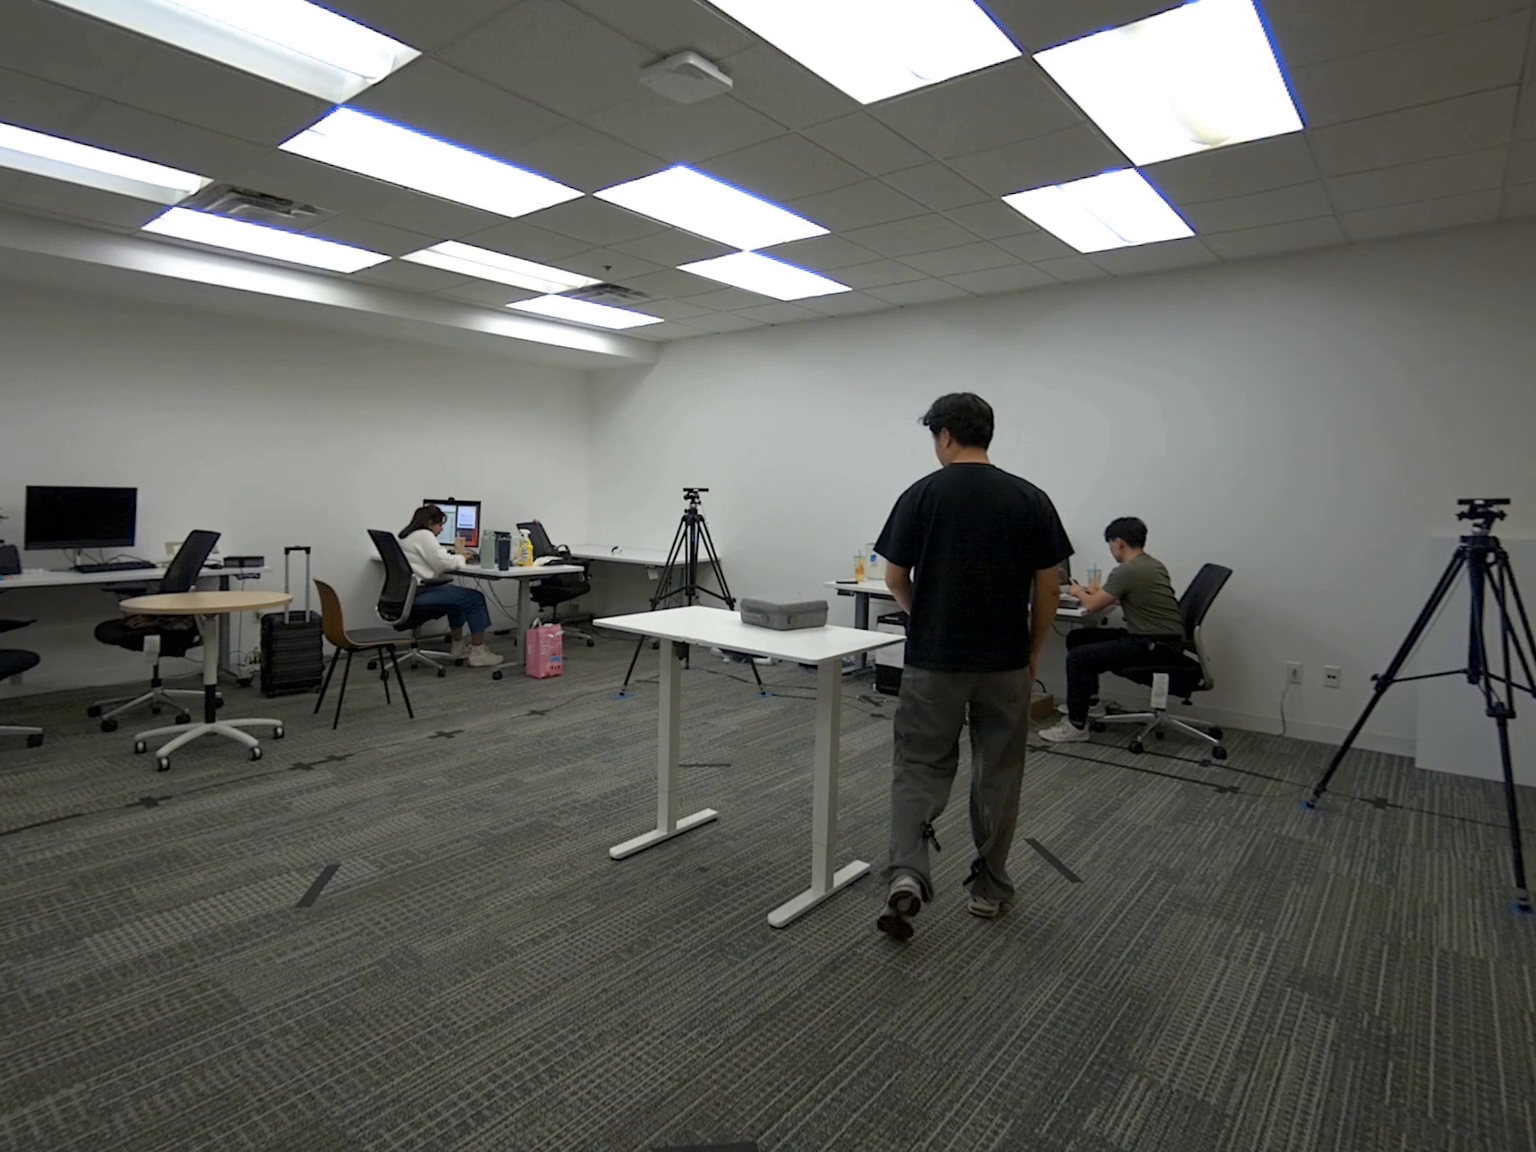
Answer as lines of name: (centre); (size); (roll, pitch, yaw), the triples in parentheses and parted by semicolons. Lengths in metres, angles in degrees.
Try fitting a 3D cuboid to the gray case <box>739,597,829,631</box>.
gray case: (0.049, 0.128, 3.224); (0.253, 0.104, 0.266); (-4, 8, -38)
